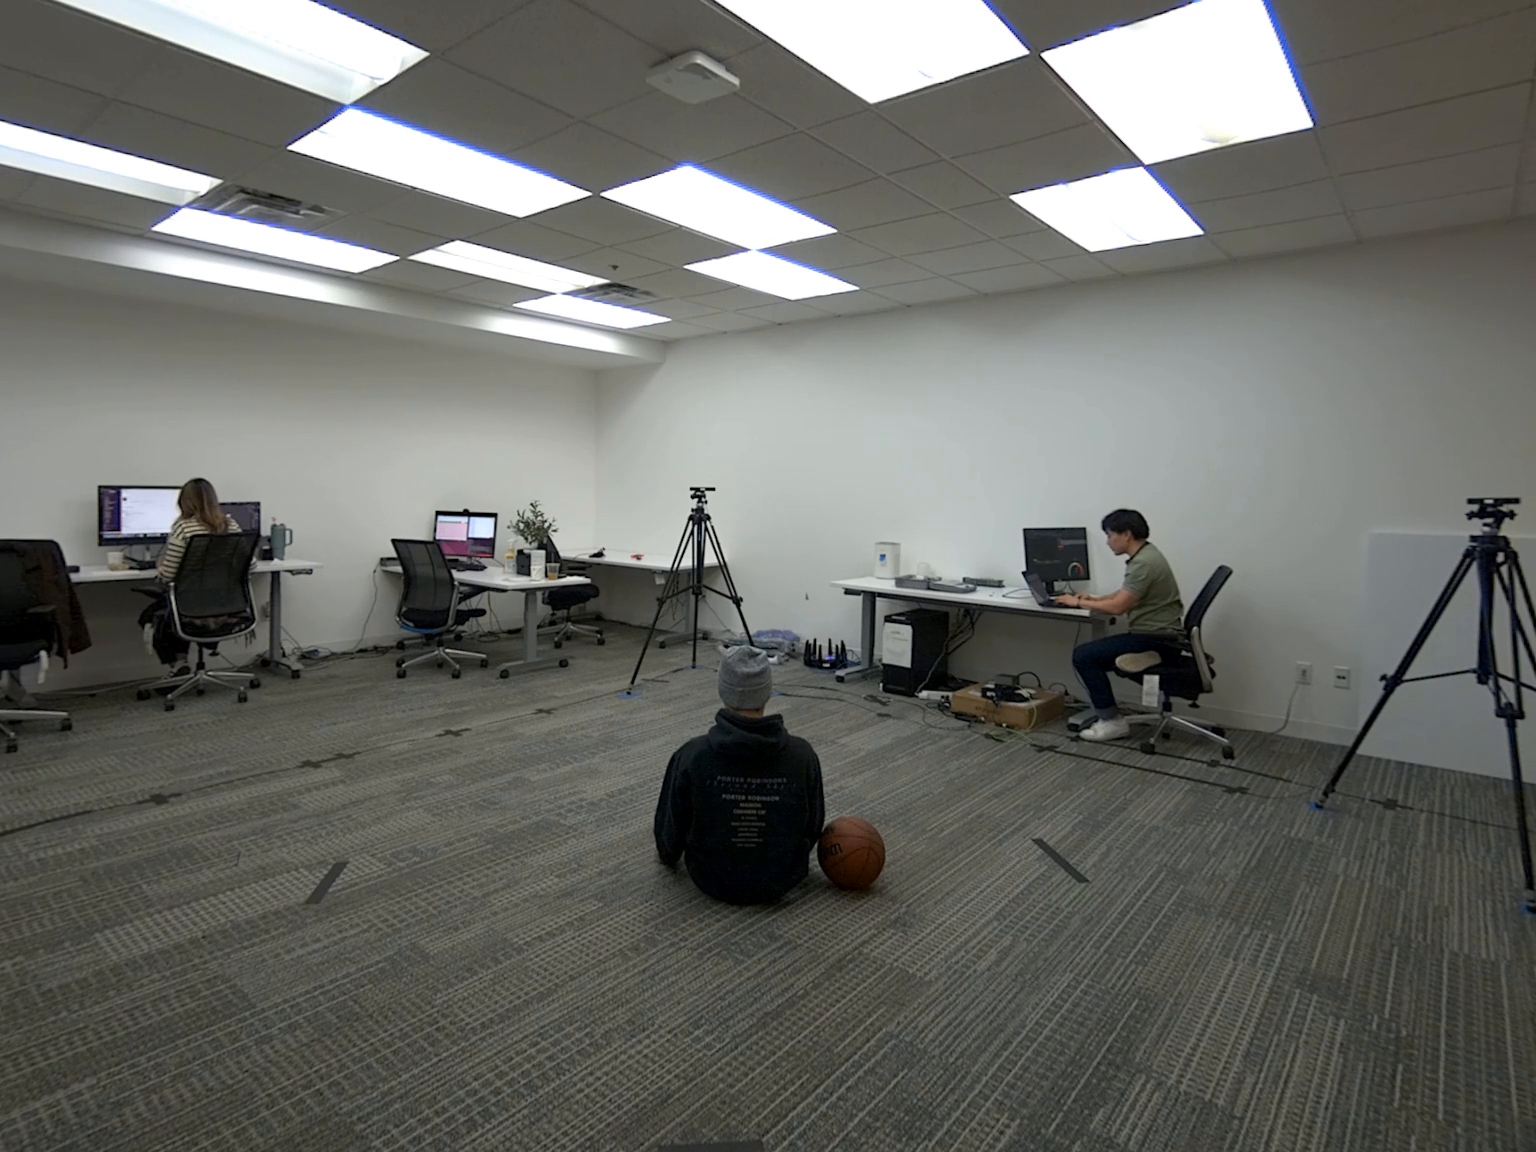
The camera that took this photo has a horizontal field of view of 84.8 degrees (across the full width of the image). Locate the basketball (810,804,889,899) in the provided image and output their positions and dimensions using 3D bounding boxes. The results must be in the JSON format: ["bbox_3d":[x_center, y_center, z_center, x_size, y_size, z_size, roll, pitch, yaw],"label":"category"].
[{"bbox_3d":[0.282,0.969,2.980,0.235,0.235,0.237,1,4,-2],"label":"basketball"}]
